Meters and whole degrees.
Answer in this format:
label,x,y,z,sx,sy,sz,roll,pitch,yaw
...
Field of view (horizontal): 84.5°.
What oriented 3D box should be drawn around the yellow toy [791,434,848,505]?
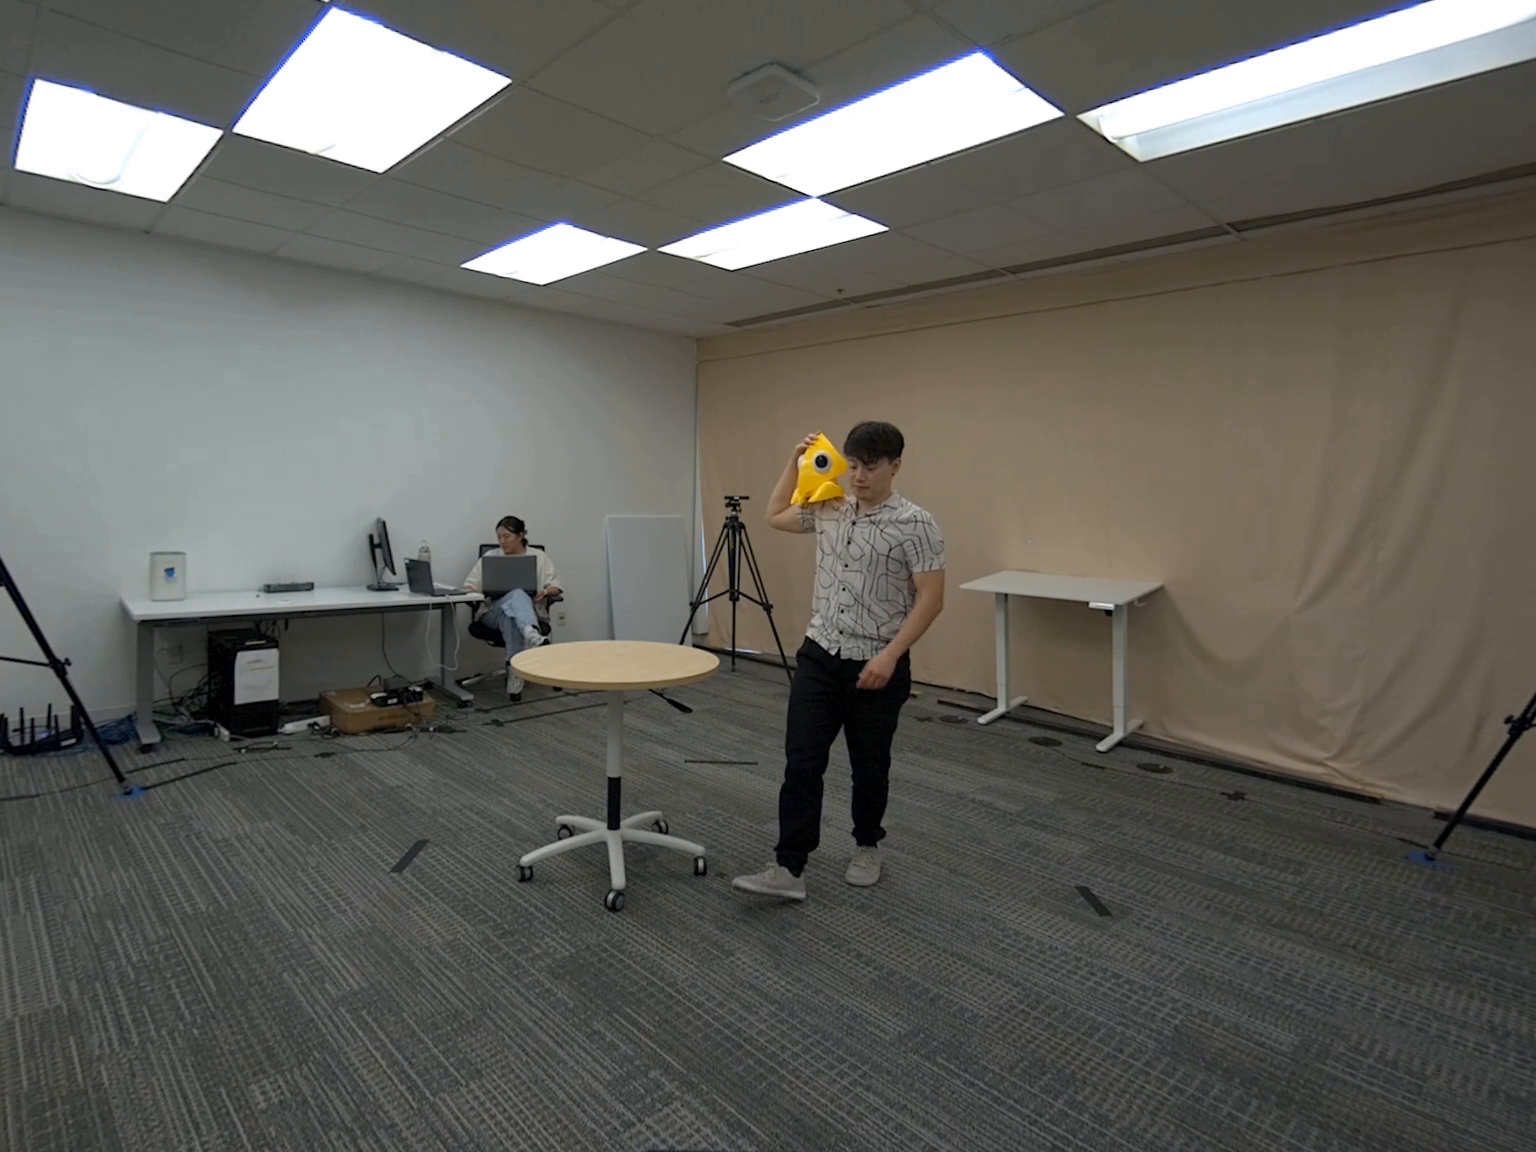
label,x,y,z,sx,sy,sz,roll,pitch,yaw
yellow toy,0.163,-0.395,3.049,0.190,0.229,0.209,-15,8,-29
